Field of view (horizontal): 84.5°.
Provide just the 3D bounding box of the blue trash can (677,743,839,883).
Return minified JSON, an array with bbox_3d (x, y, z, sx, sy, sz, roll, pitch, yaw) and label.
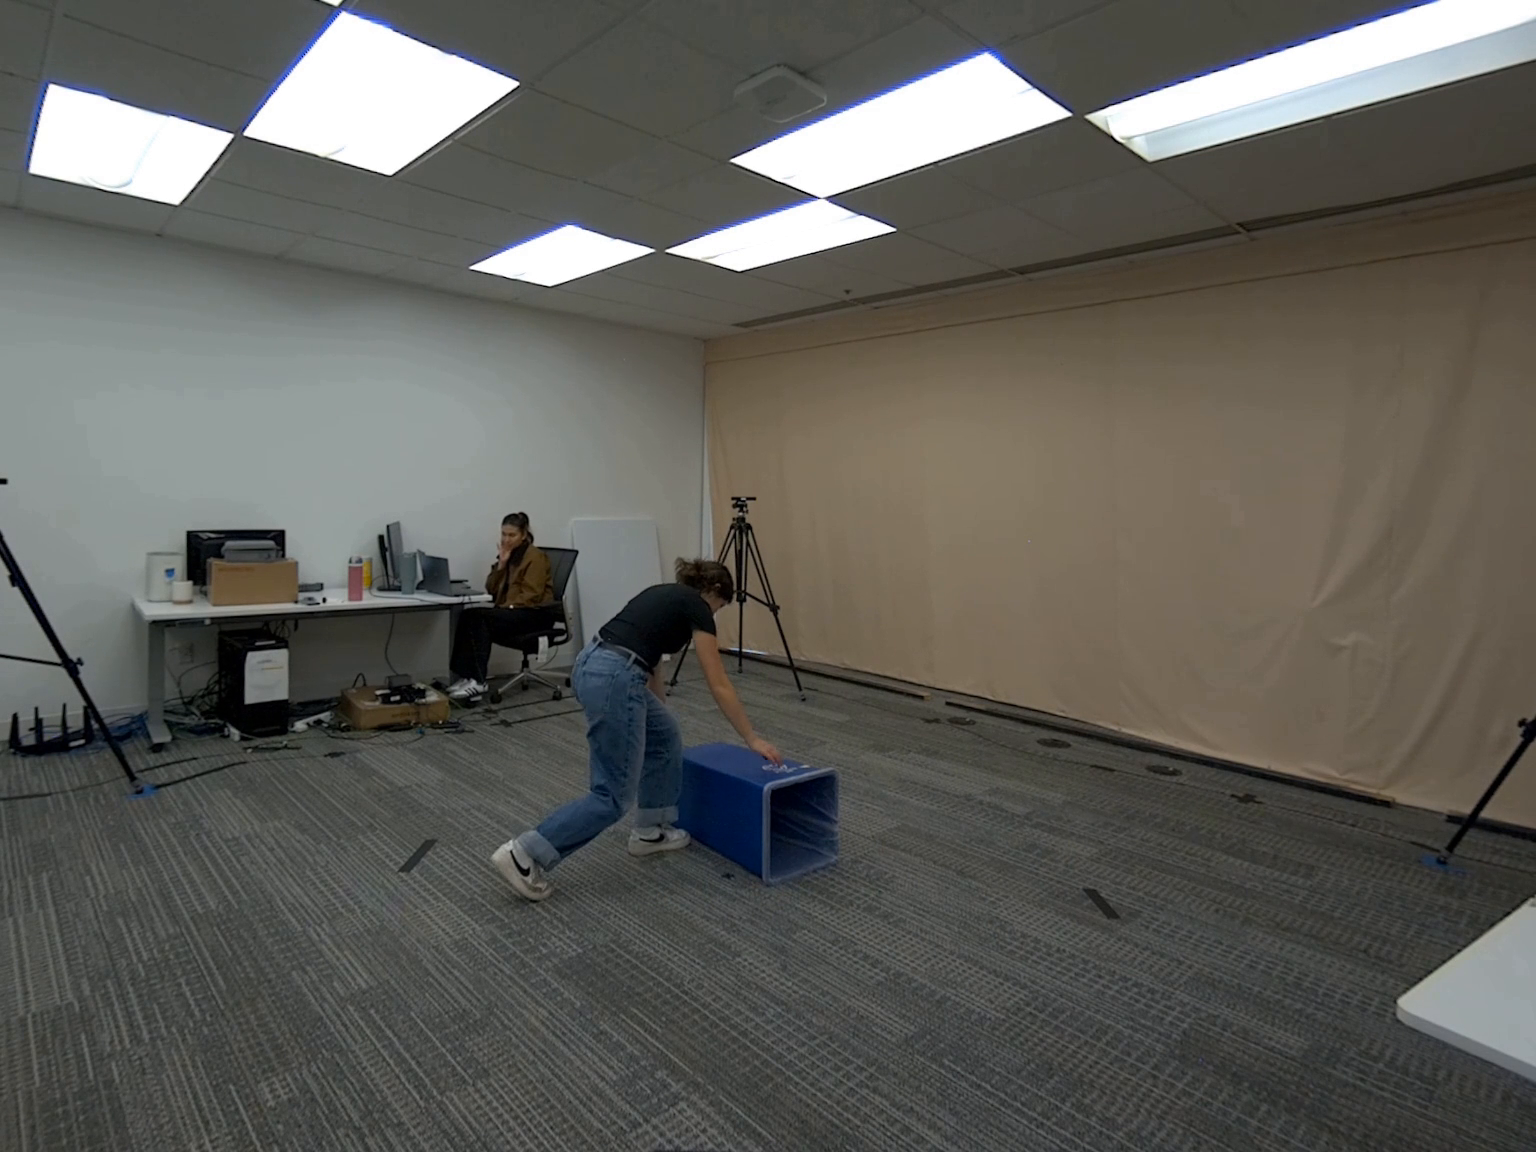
[{"bbox_3d":[-0.105,0.914,3.396,0.366,0.377,0.731,-2,3,-40],"label":"blue trash can"}]
